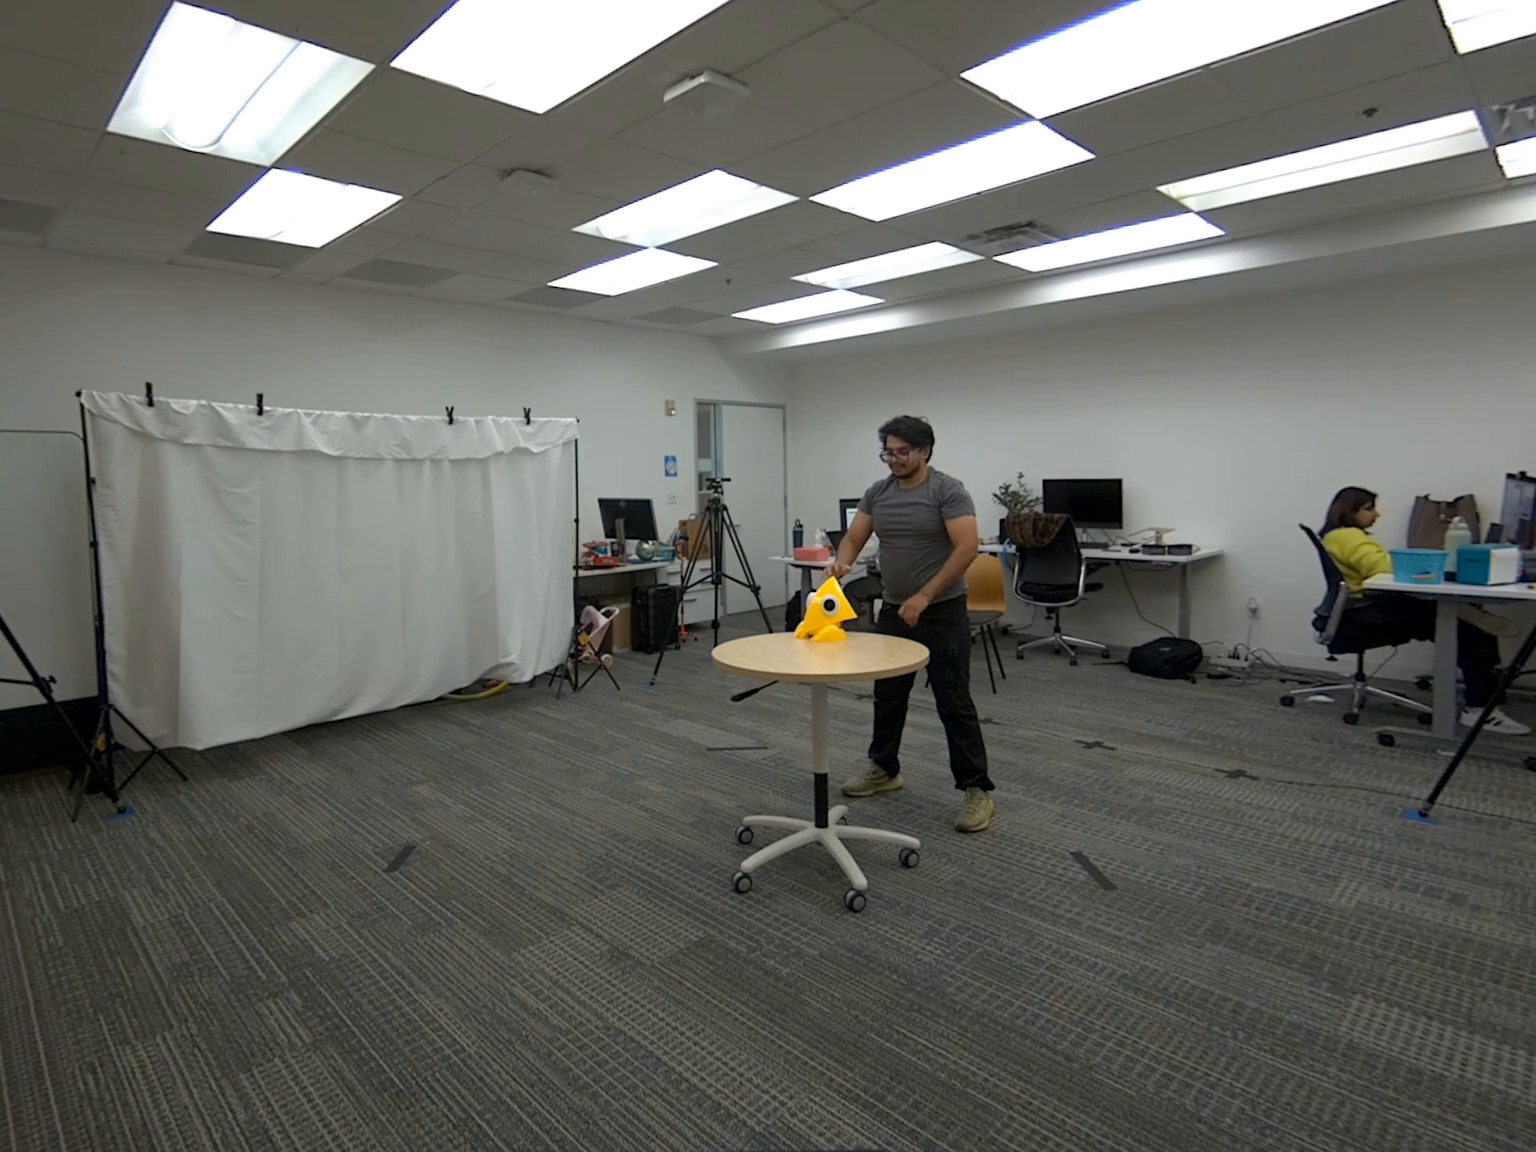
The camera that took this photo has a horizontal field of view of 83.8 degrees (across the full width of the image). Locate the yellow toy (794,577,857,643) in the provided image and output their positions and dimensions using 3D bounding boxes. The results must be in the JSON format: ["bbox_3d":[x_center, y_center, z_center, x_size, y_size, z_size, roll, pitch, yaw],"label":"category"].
[{"bbox_3d":[0.214,0.121,3.298,0.188,0.230,0.210,-4,5,-32],"label":"yellow toy"}]
